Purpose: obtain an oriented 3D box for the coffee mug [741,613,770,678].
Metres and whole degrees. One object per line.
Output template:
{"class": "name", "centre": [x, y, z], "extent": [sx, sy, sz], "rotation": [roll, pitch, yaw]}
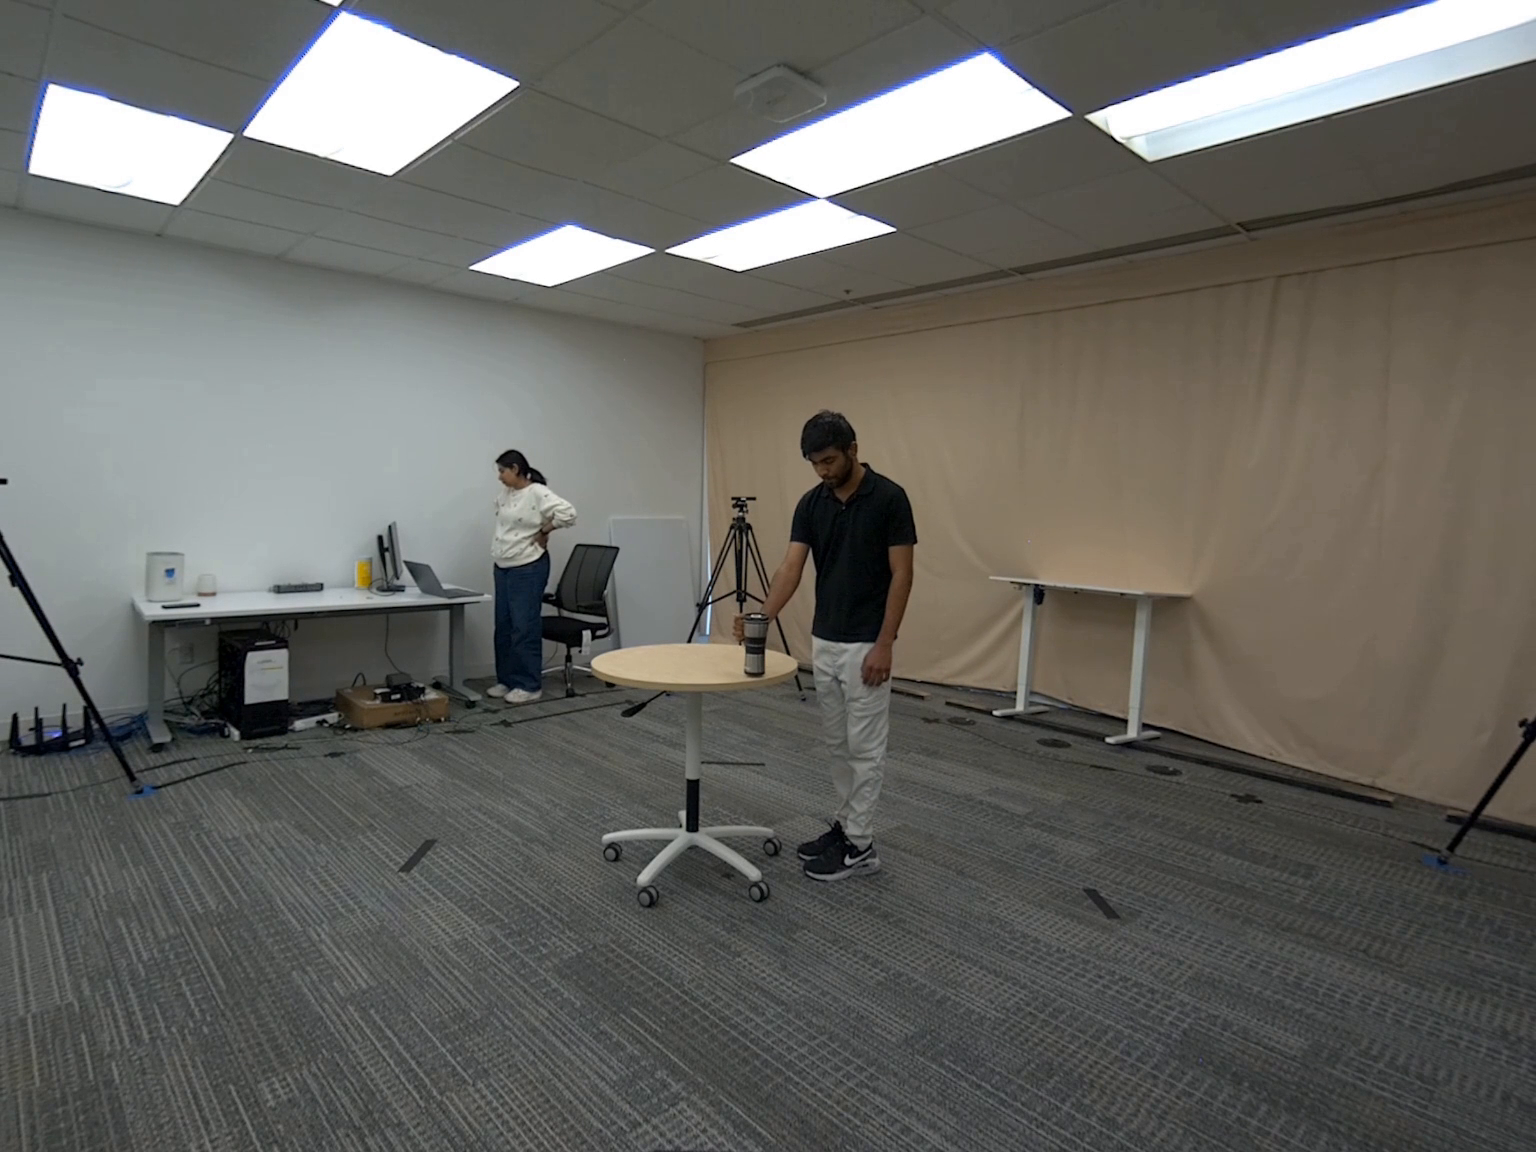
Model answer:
{"class": "coffee mug", "centre": [-0.042, 0.237, 2.891], "extent": [0.090, 0.202, 0.120], "rotation": [-1, 6, 30]}
